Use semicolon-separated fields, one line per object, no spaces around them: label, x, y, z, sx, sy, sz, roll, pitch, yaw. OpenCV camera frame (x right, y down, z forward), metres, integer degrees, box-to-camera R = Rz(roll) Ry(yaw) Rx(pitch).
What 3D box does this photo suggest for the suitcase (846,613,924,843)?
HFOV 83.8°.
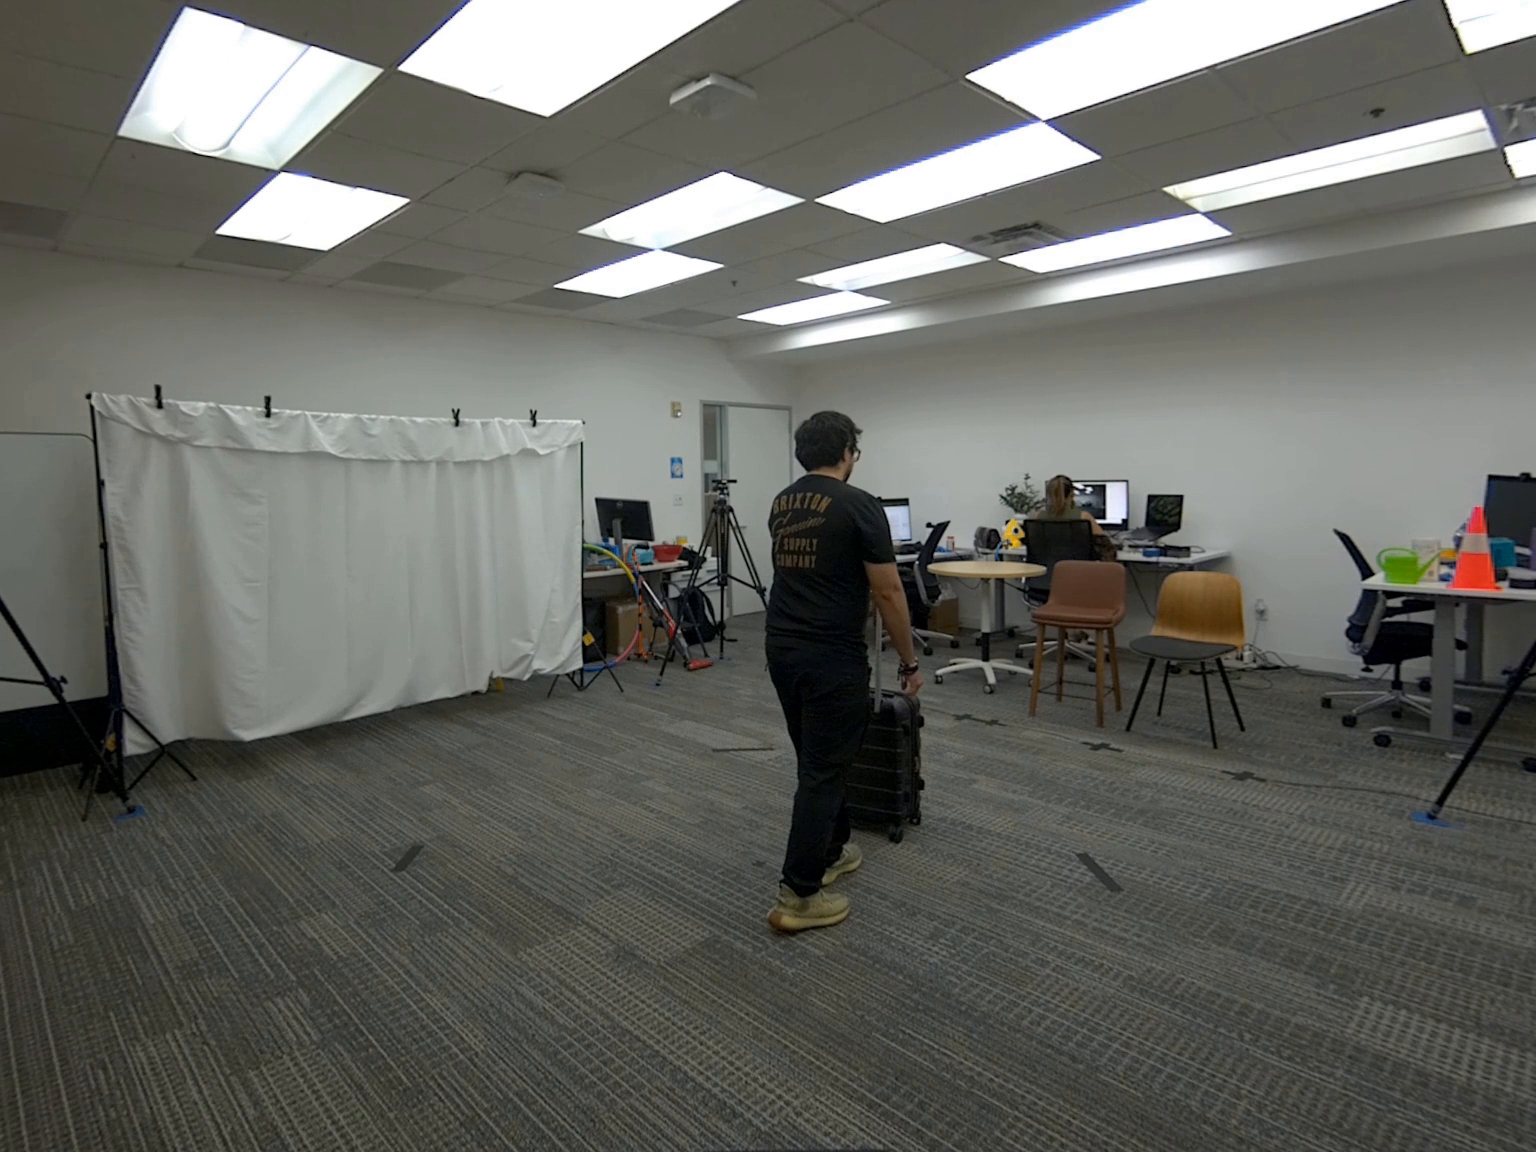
suitcase;0.431;0.529;3.467;0.394;0.979;0.250;0;-1;31
